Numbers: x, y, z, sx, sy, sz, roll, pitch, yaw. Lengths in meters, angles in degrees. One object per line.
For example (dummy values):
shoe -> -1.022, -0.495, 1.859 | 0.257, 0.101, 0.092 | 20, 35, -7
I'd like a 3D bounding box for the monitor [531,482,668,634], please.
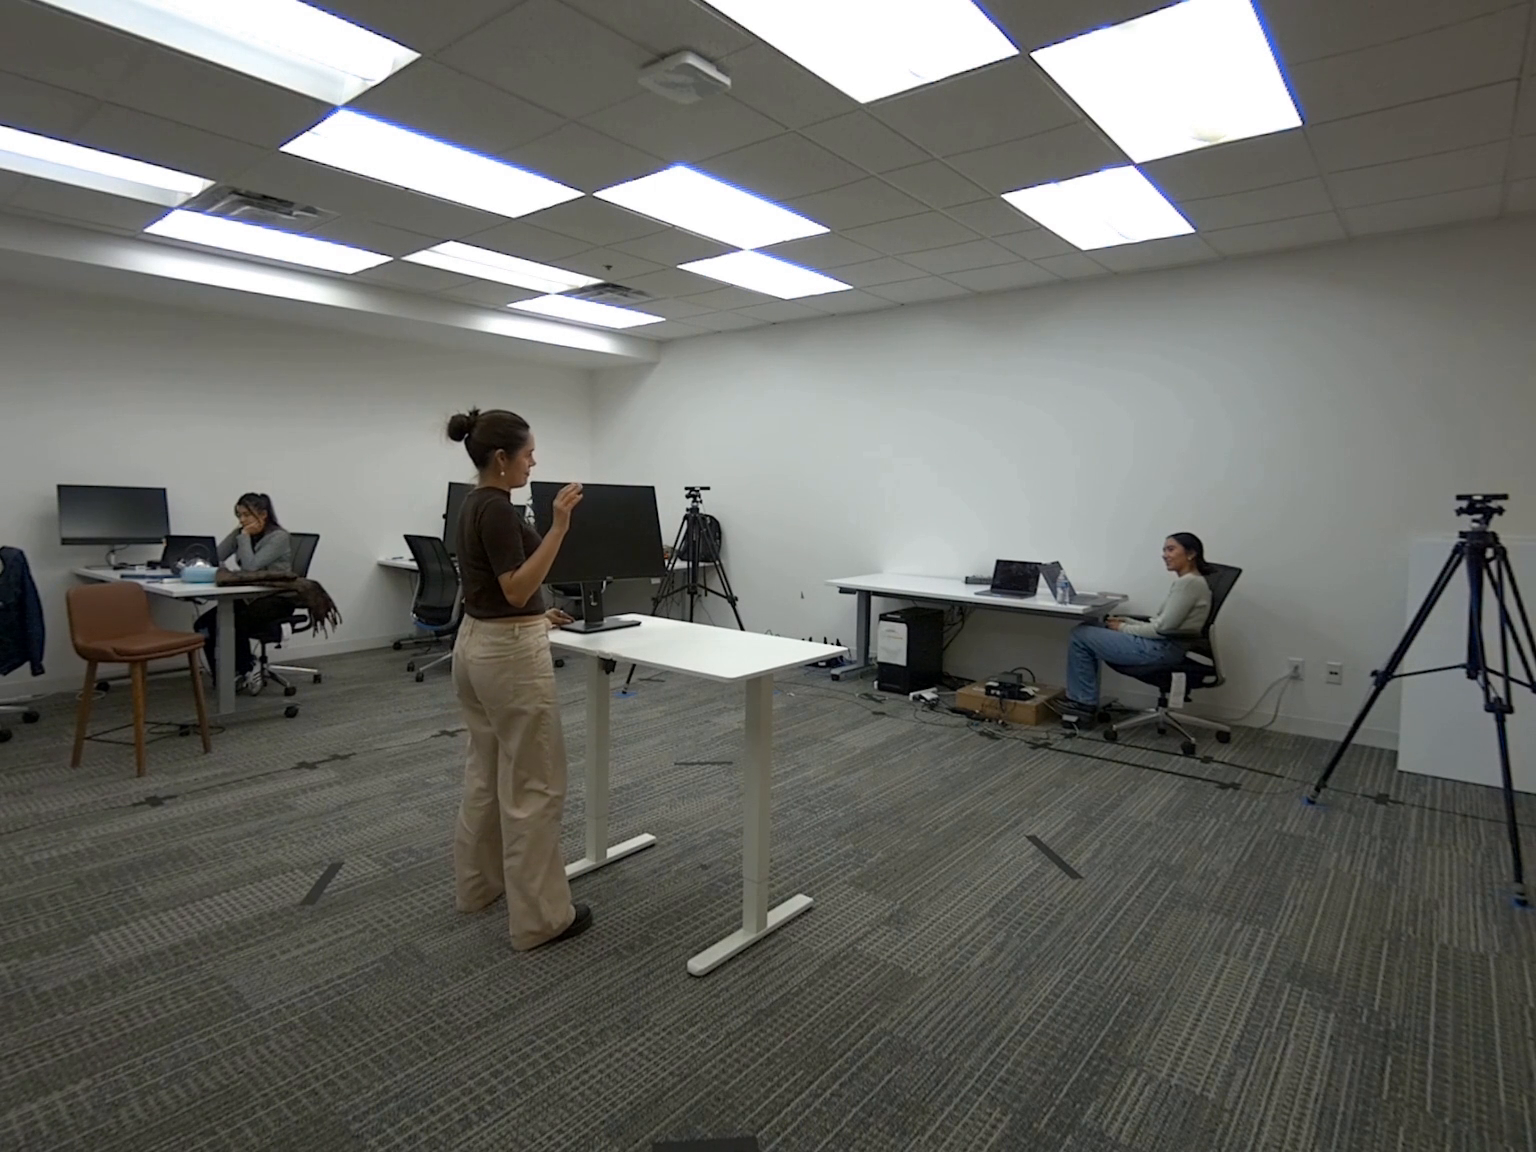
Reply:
monitor -> -0.637, -0.070, 3.047 | 0.193, 0.522, 0.523 | 2, 3, 43
